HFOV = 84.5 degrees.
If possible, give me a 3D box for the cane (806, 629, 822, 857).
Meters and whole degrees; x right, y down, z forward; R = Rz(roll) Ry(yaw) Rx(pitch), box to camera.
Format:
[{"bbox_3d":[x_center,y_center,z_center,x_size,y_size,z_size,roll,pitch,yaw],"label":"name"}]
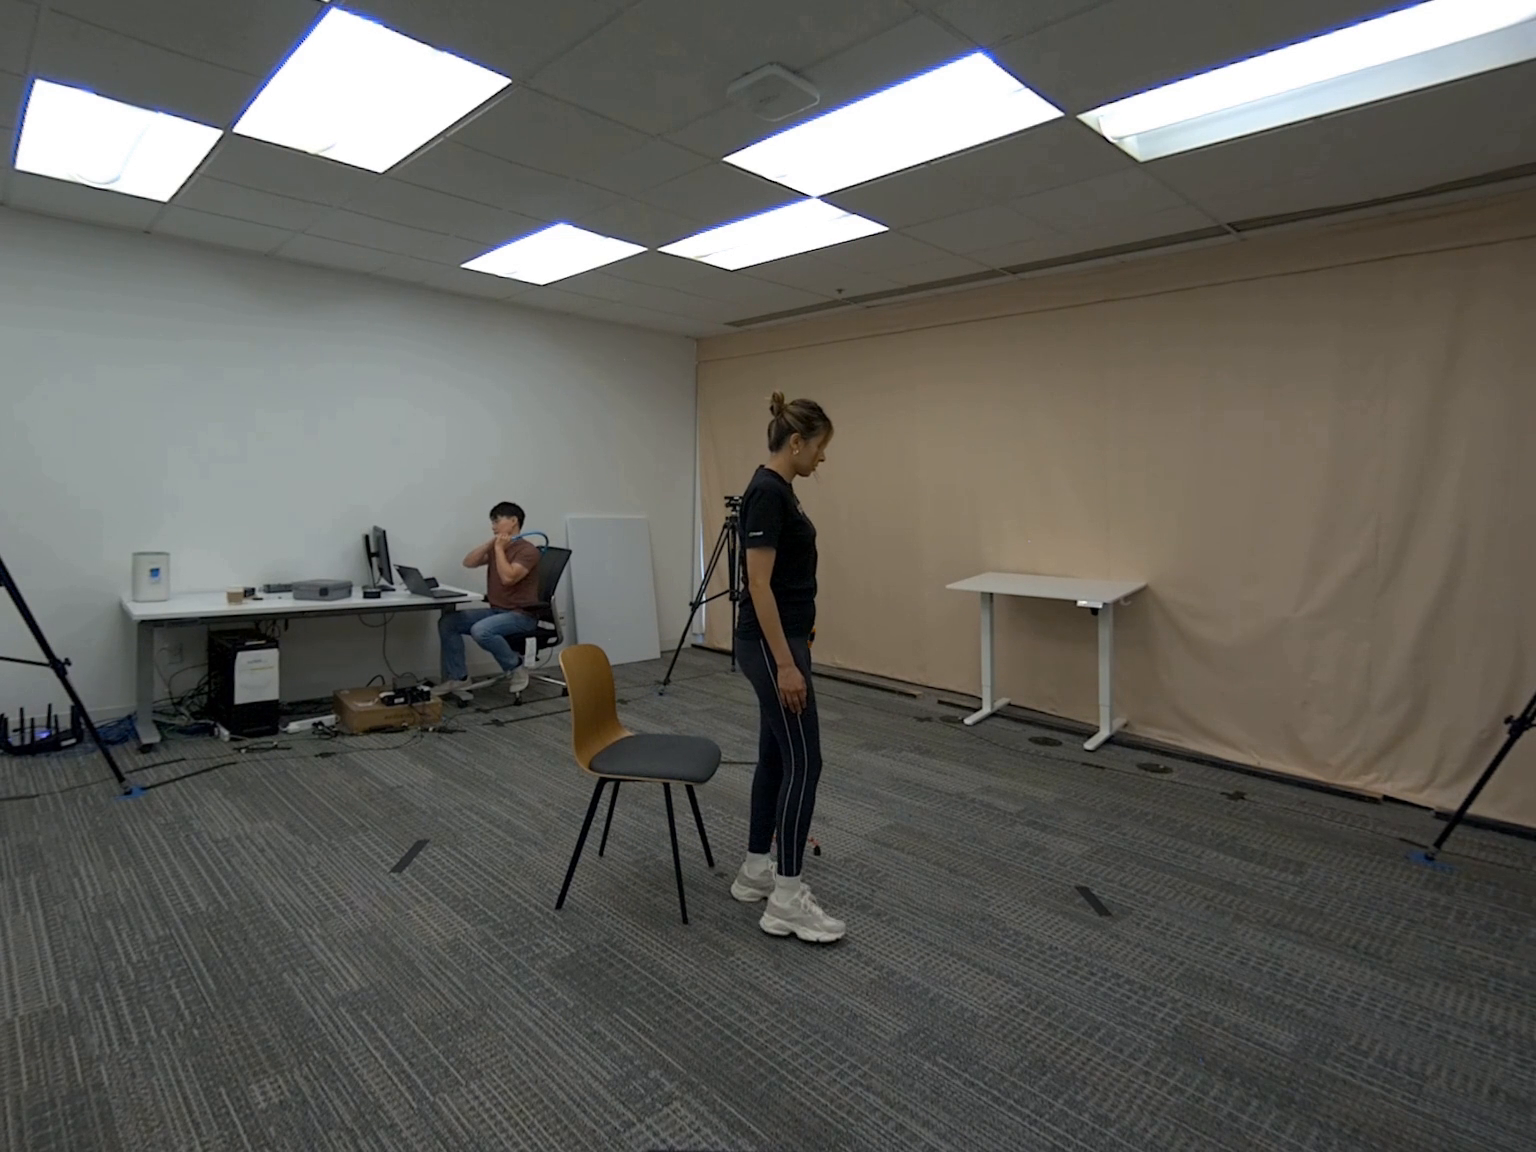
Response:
[{"bbox_3d":[0.087,0.609,3.168,0.211,0.906,0.148,3,3,38],"label":"cane"}]
